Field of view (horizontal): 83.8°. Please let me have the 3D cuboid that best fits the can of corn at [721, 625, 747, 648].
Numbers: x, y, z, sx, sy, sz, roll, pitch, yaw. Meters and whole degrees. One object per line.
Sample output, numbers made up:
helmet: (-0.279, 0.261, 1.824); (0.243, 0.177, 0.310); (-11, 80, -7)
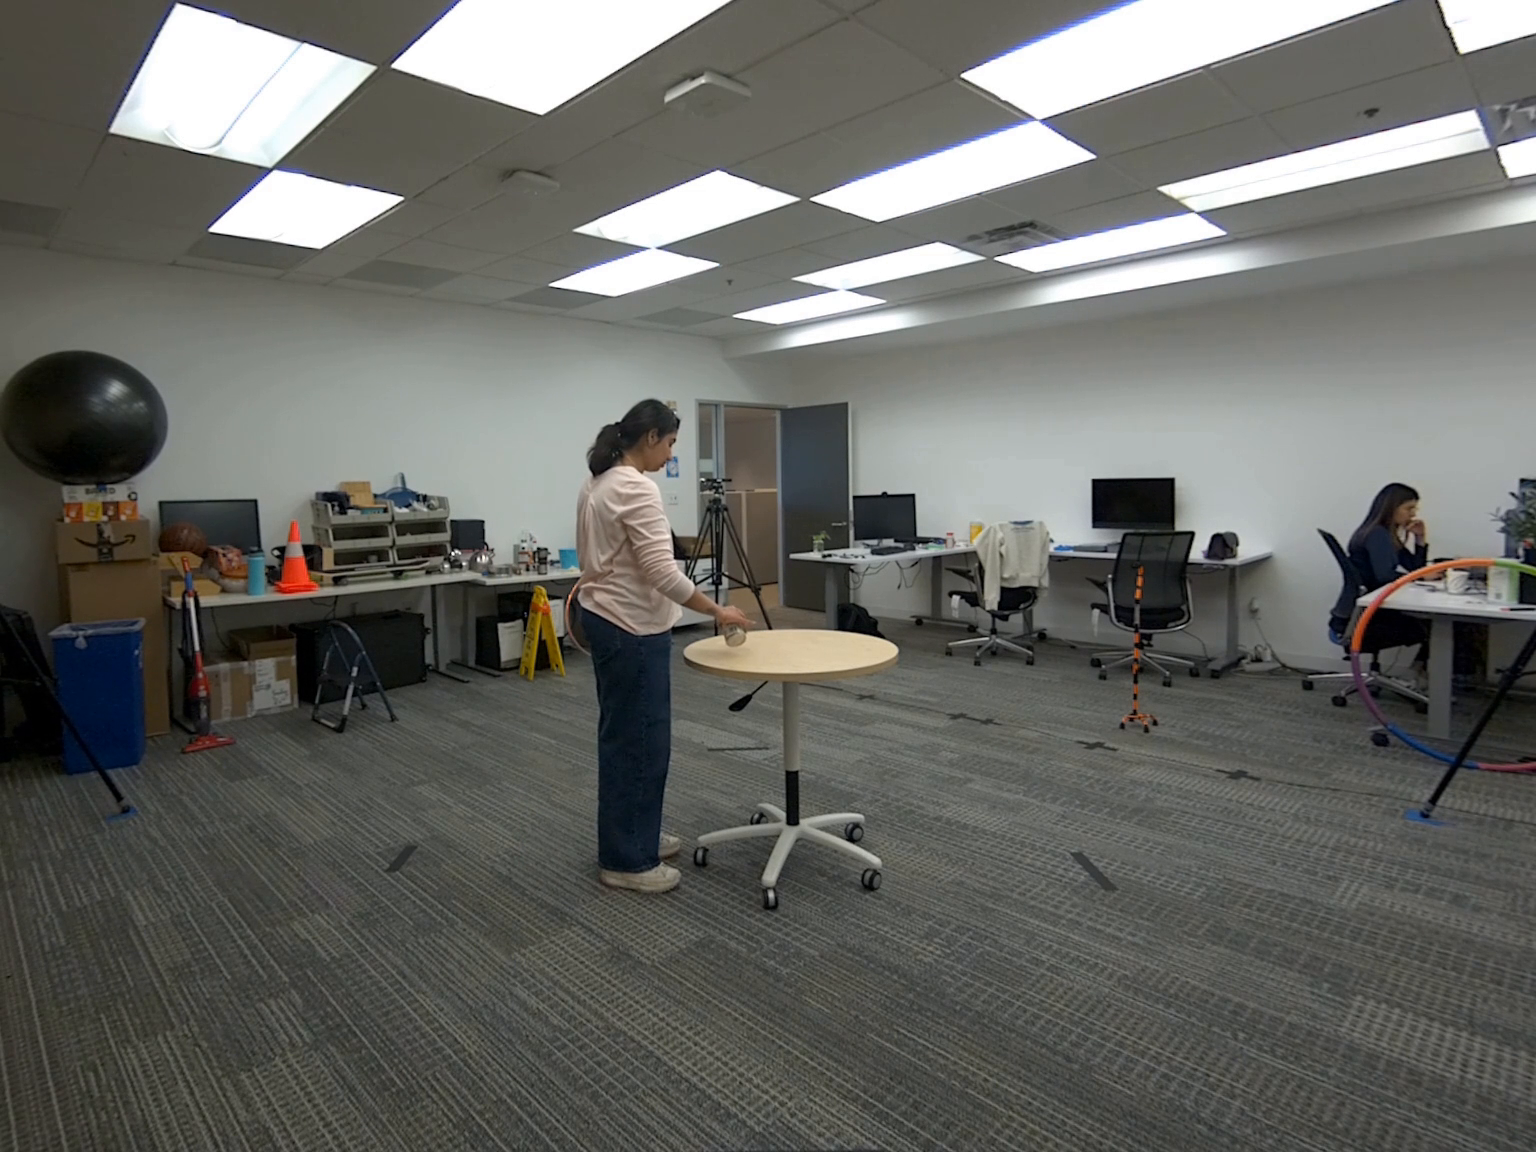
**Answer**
can of corn: (-0.123, 0.185, 3.019); (0.073, 0.073, 0.115); (-2, 47, -15)
